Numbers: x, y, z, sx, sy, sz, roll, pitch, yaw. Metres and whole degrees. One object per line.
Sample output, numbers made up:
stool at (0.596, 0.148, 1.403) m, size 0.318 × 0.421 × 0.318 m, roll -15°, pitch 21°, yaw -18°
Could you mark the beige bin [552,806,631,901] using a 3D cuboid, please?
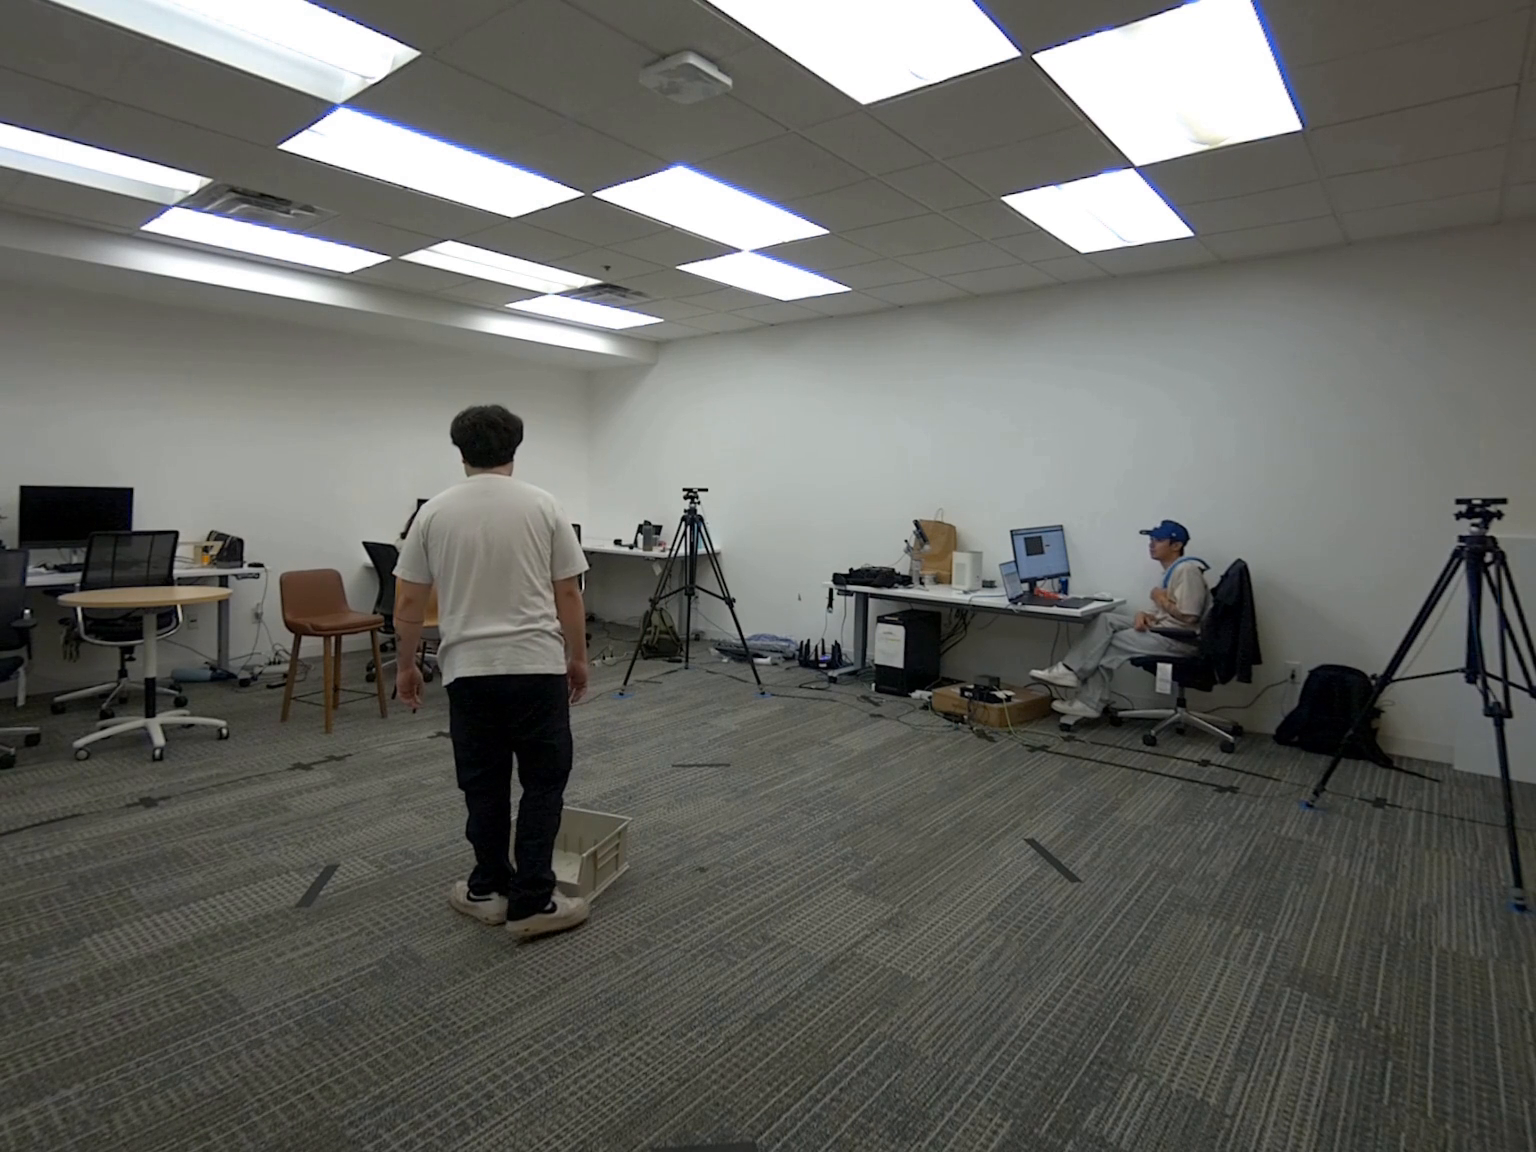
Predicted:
beige bin at (-0.762, 0.979, 3.021) m, size 0.431 × 0.188 × 0.370 m, roll 2°, pitch 4°, yaw 19°
